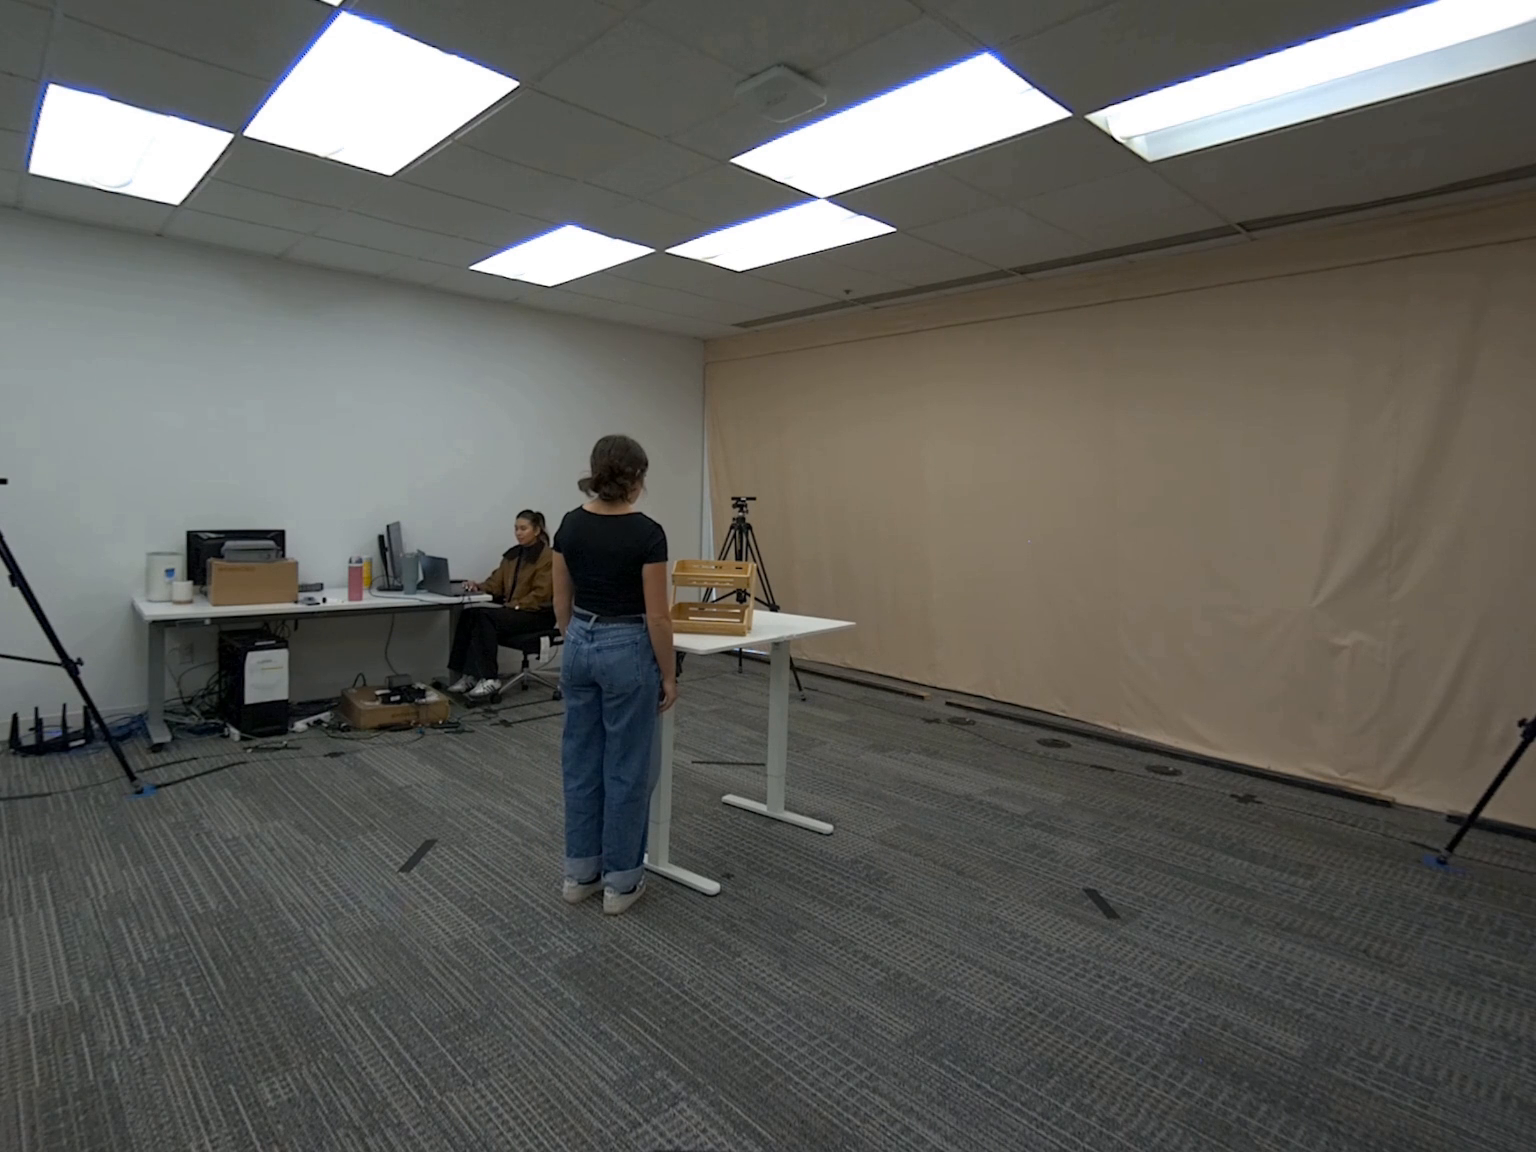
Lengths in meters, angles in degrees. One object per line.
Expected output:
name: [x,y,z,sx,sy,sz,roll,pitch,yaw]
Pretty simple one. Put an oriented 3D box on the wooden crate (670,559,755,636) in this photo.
wooden crate: [-0.228,0.081,3.261,0.326,0.272,0.301,3,4,5]
